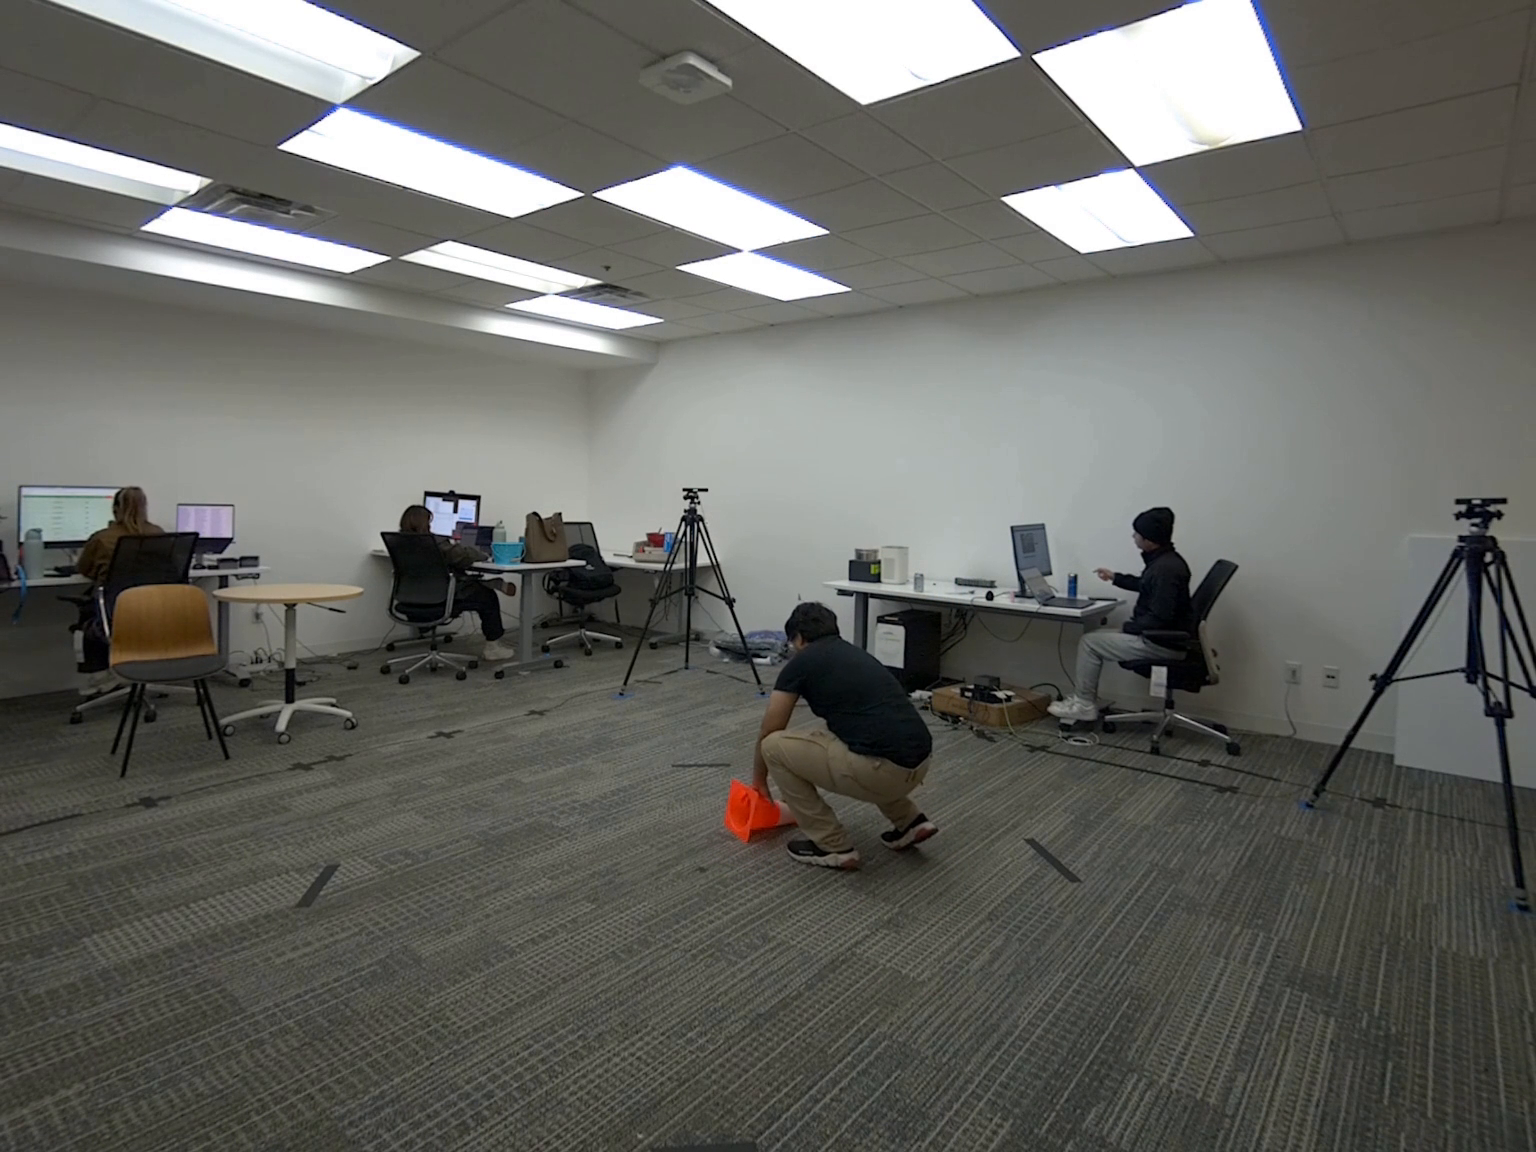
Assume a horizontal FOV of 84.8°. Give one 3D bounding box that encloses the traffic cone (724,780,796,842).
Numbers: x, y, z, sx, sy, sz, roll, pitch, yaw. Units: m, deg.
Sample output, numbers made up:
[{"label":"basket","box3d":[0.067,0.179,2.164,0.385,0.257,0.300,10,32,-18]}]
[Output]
[{"label":"traffic cone","box3d":[0.034,0.978,3.537,0.372,0.206,0.209,12,-5,-29]}]
